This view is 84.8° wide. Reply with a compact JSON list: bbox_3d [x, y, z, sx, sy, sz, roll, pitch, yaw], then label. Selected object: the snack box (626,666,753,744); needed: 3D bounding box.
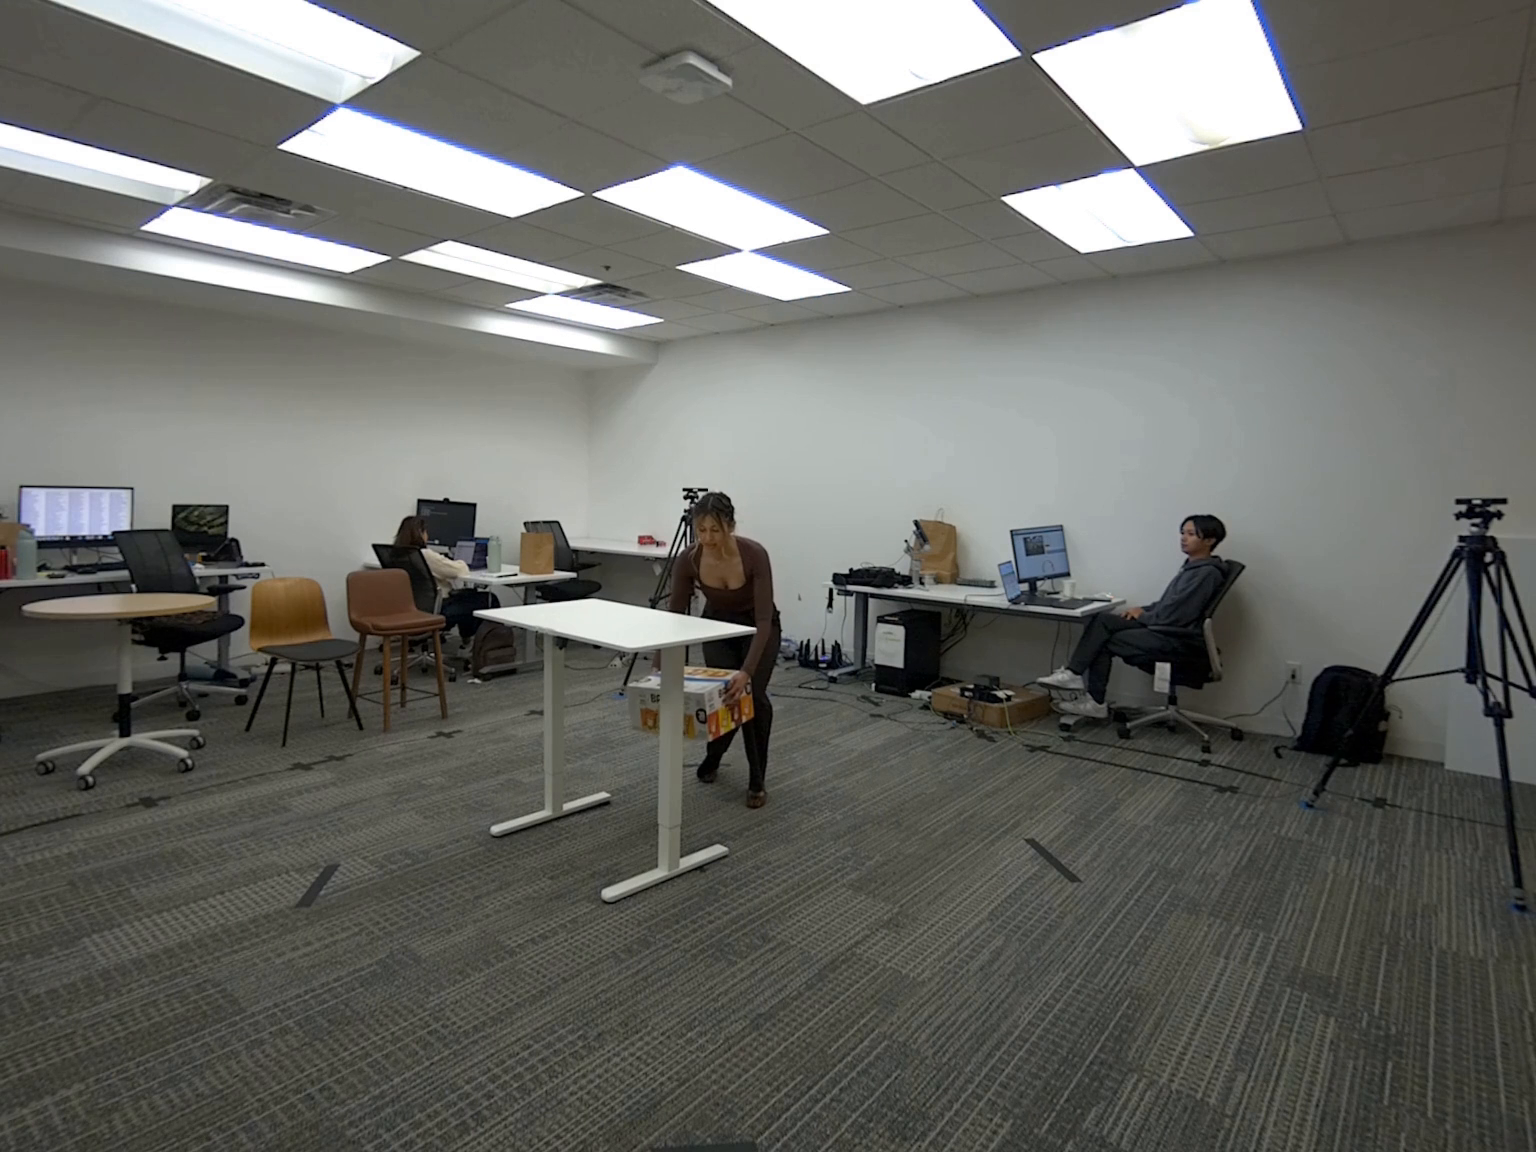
[{"bbox_3d":[-0.336,0.533,3.621,0.417,0.204,0.333,0,9,33],"label":"snack box"}]
